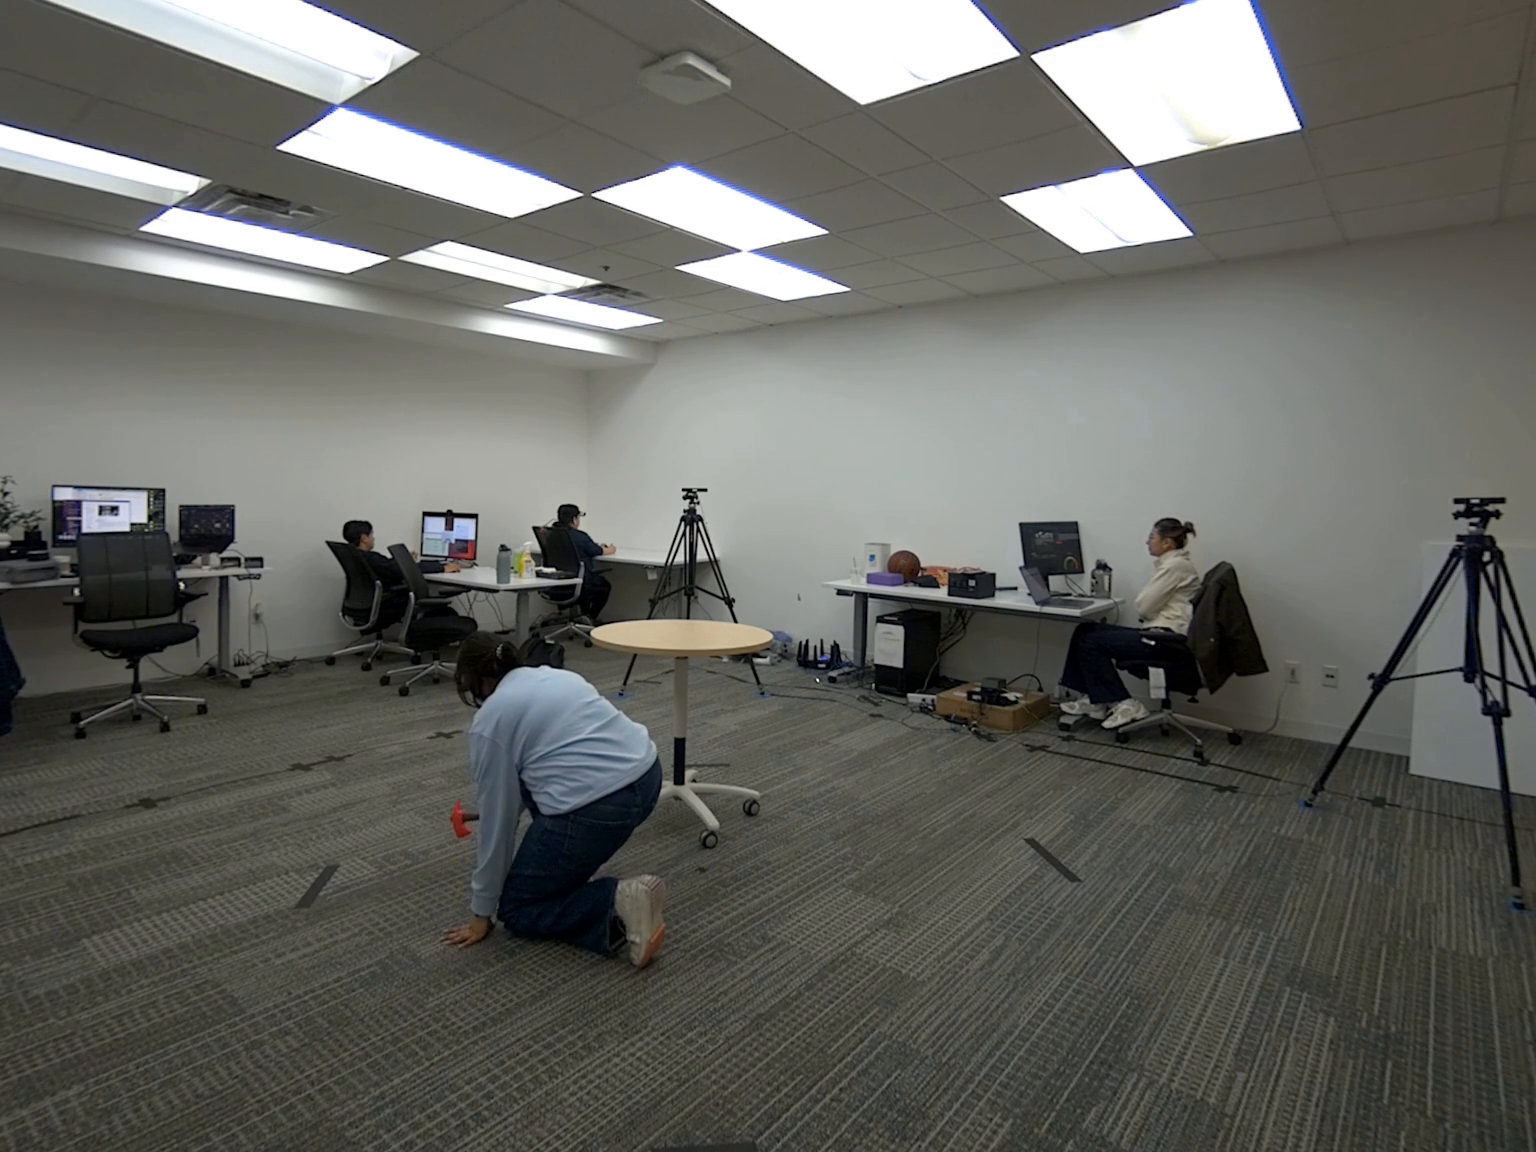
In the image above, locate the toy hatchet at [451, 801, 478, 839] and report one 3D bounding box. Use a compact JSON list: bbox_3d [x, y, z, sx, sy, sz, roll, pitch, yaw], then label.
[{"bbox_3d":[-1.049,0.907,3.074,0.276,0.131,0.029,12,-4,19],"label":"toy hatchet"}]
